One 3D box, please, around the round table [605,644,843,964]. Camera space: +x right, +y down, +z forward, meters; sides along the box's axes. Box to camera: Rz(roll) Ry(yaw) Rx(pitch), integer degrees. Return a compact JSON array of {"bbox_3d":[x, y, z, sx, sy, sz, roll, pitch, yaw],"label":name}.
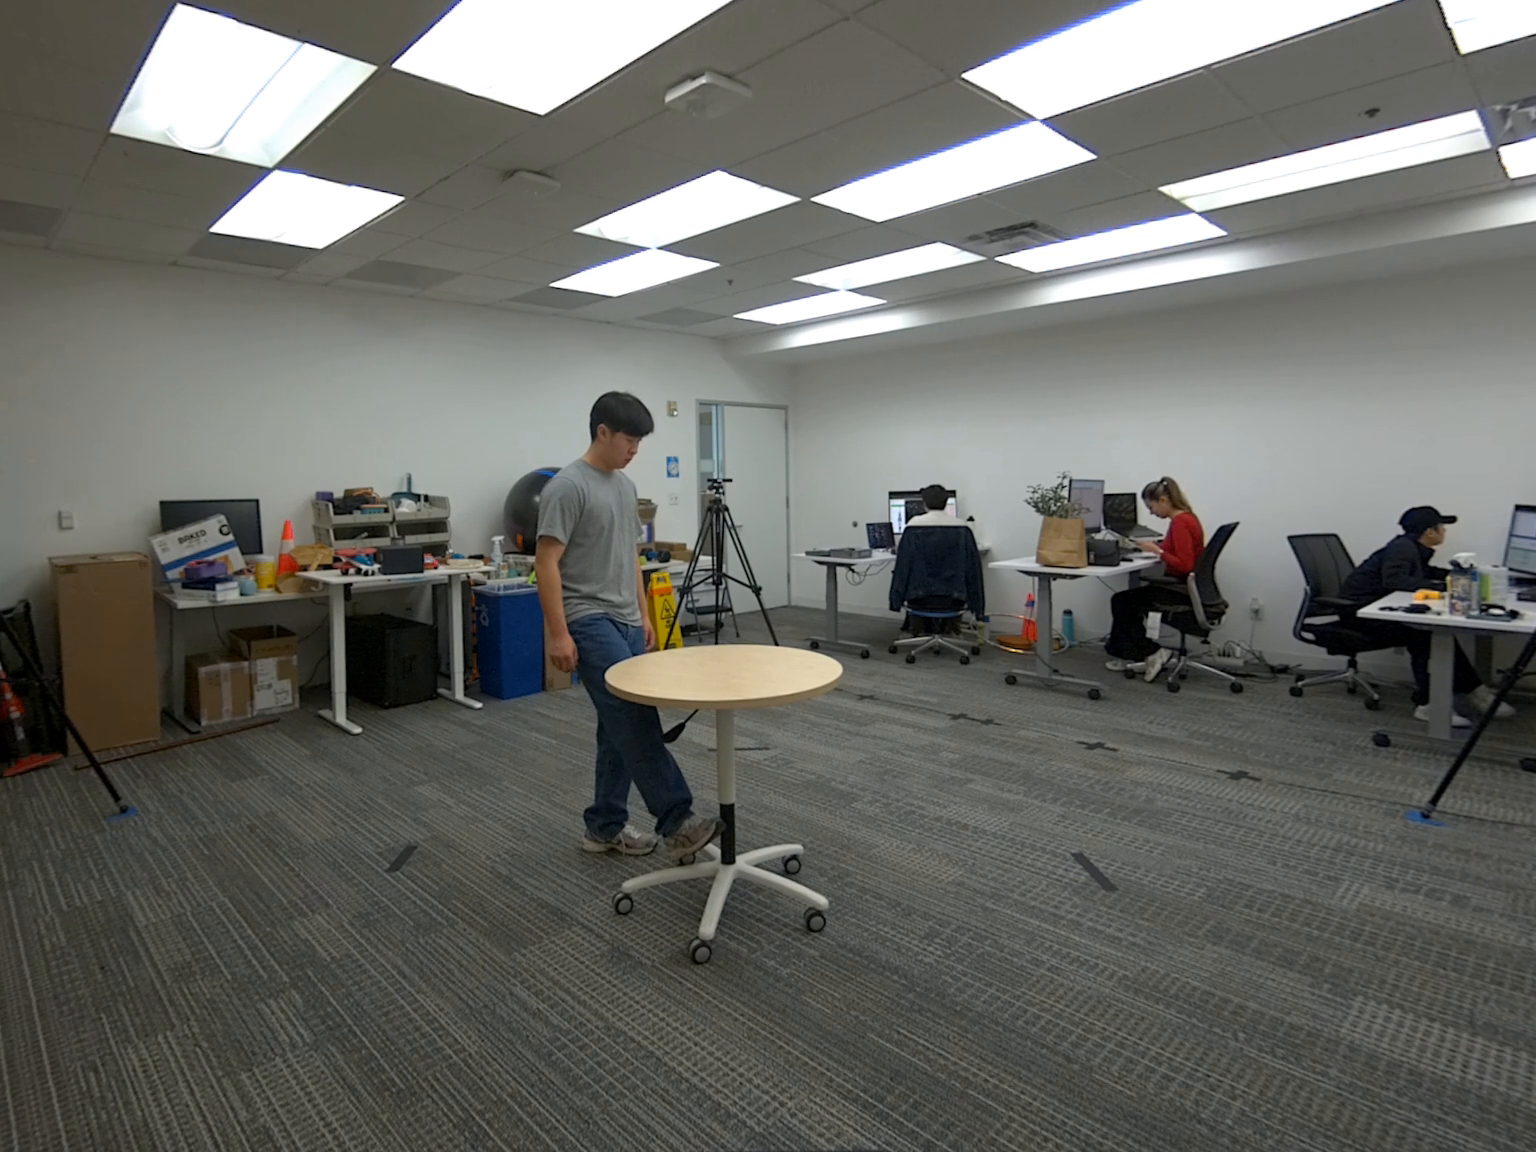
[{"bbox_3d":[-0.131,0.695,2.793,0.763,0.791,0.768,-1,5,-2],"label":"round table"}]
